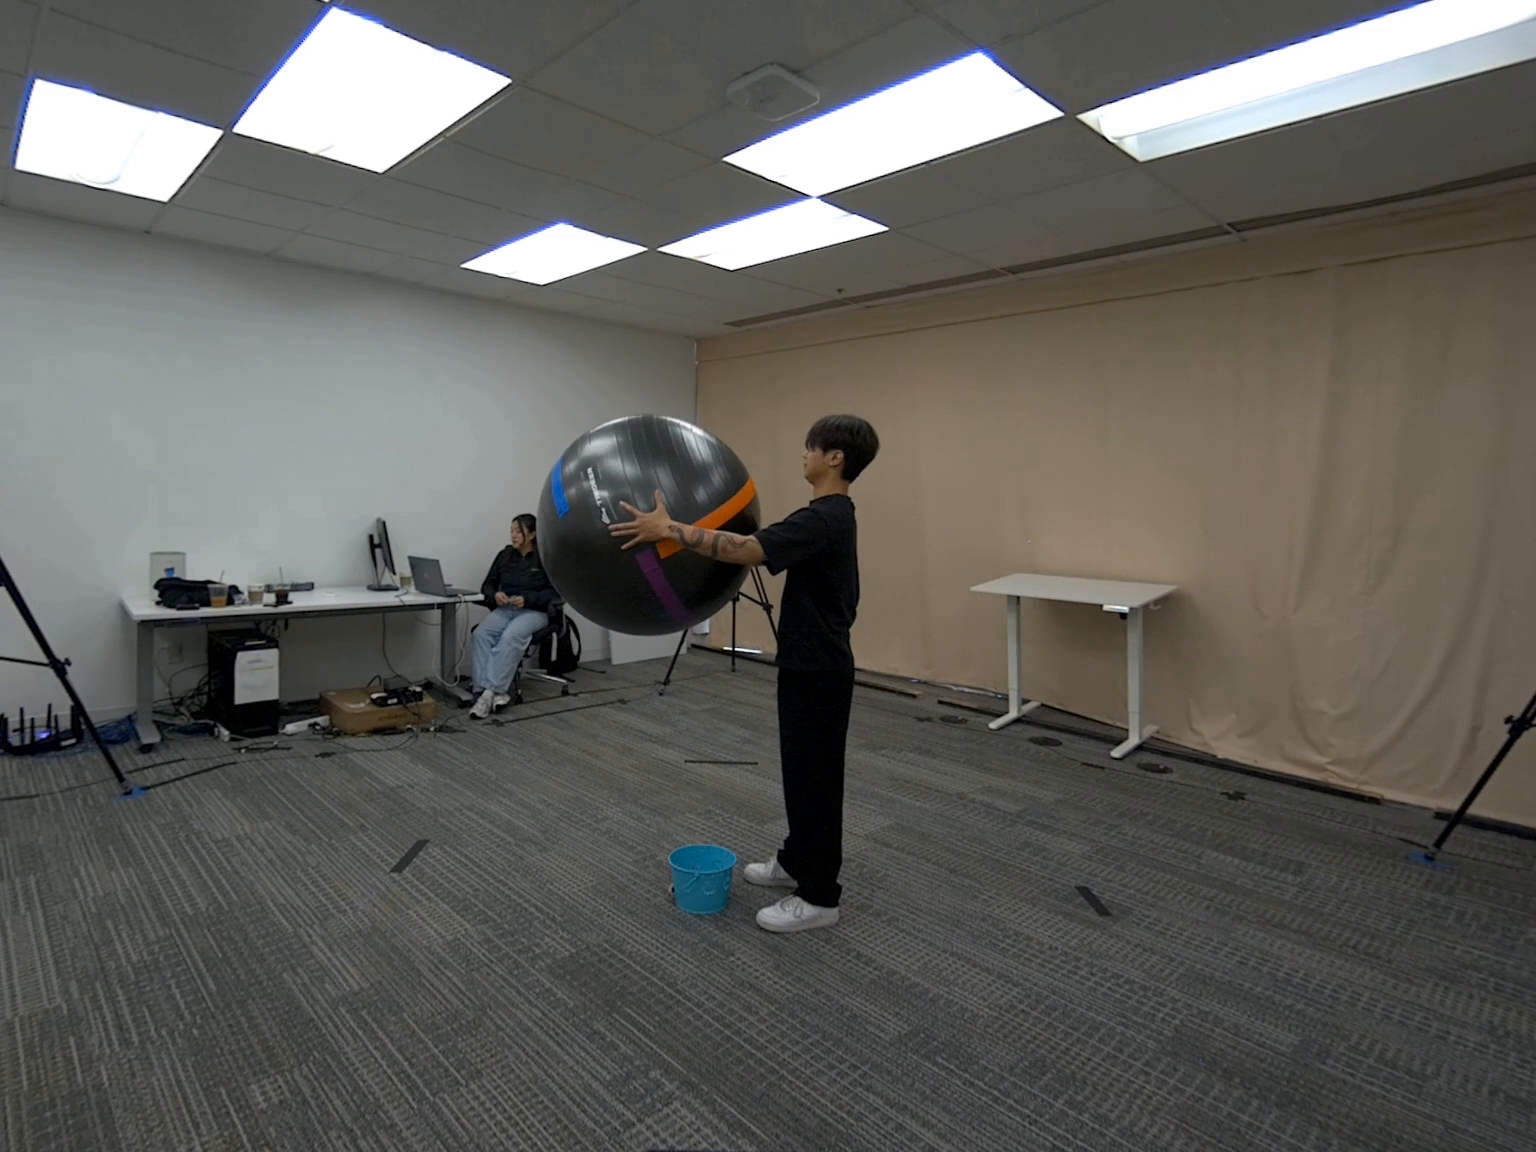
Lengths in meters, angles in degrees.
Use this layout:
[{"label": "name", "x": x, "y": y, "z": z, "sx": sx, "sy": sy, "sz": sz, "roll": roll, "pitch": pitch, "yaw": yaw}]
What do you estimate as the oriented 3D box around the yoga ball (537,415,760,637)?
[{"label": "yoga ball", "x": -0.410, "y": -0.167, "z": 2.895, "sx": 0.757, "sy": 0.756, "sz": 0.761, "roll": 1, "pitch": 4, "yaw": -1}]
